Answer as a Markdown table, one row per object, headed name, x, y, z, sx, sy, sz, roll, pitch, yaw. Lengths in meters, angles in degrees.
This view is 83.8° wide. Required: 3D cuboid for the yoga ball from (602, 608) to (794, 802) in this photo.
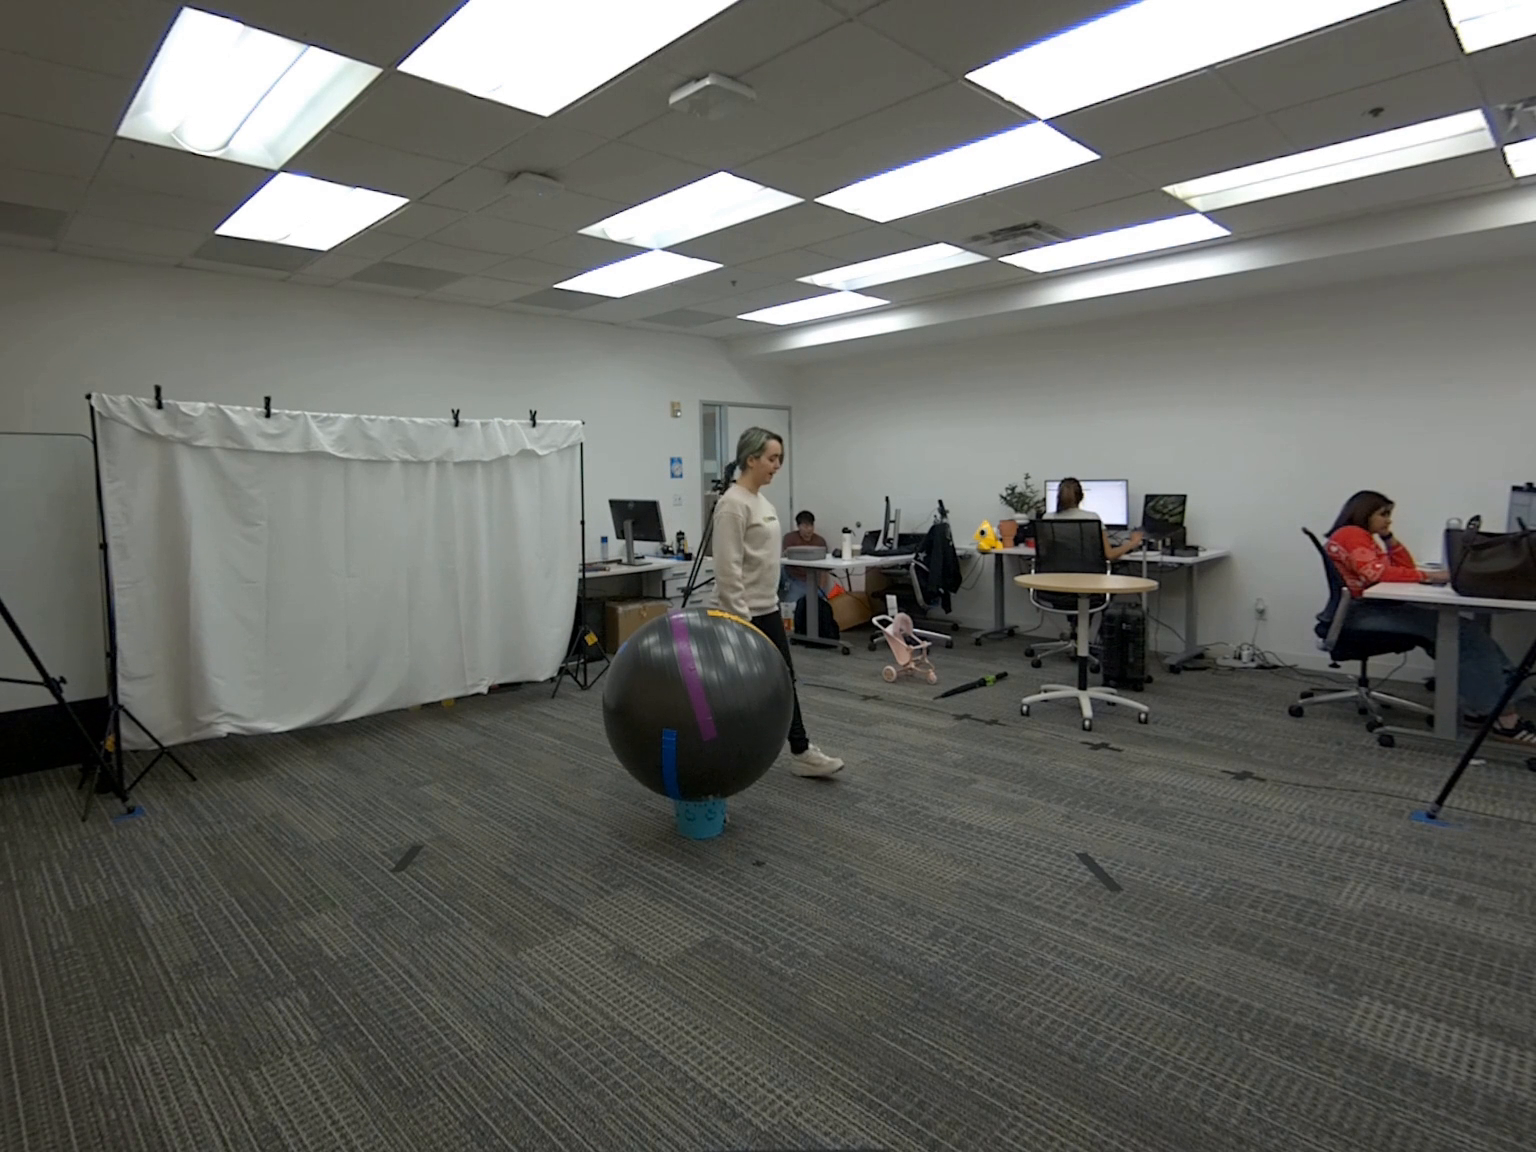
| name | x | y | z | sx | sy | sz | roll | pitch | yaw |
| --- | --- | --- | --- | --- | --- | --- | --- | --- | --- |
| yoga ball | -0.277 | 0.509 | 3.400 | 0.757 | 0.755 | 0.762 | -1 | 5 | -2 |
